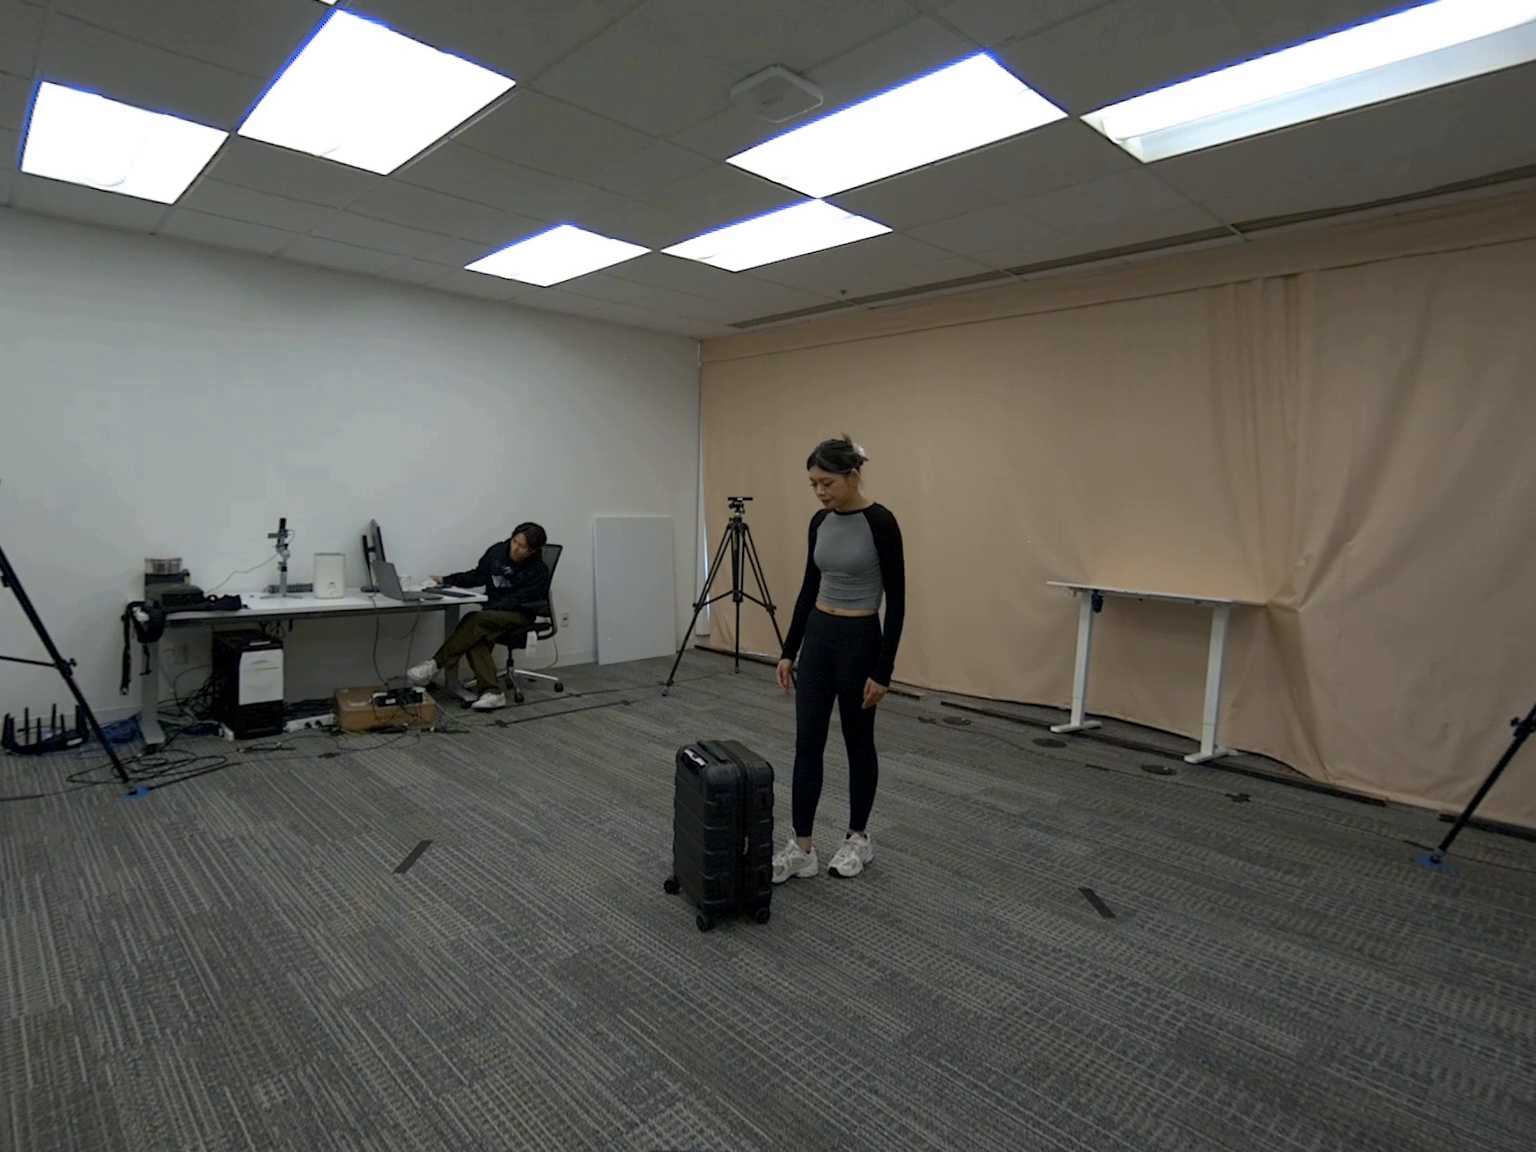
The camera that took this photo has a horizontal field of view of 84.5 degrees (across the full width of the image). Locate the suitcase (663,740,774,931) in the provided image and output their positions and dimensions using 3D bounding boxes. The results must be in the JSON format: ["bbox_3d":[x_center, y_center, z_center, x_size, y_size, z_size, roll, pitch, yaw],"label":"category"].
[{"bbox_3d":[-0.163,0.848,2.860,0.244,0.548,0.383,1,3,-25],"label":"suitcase"}]
